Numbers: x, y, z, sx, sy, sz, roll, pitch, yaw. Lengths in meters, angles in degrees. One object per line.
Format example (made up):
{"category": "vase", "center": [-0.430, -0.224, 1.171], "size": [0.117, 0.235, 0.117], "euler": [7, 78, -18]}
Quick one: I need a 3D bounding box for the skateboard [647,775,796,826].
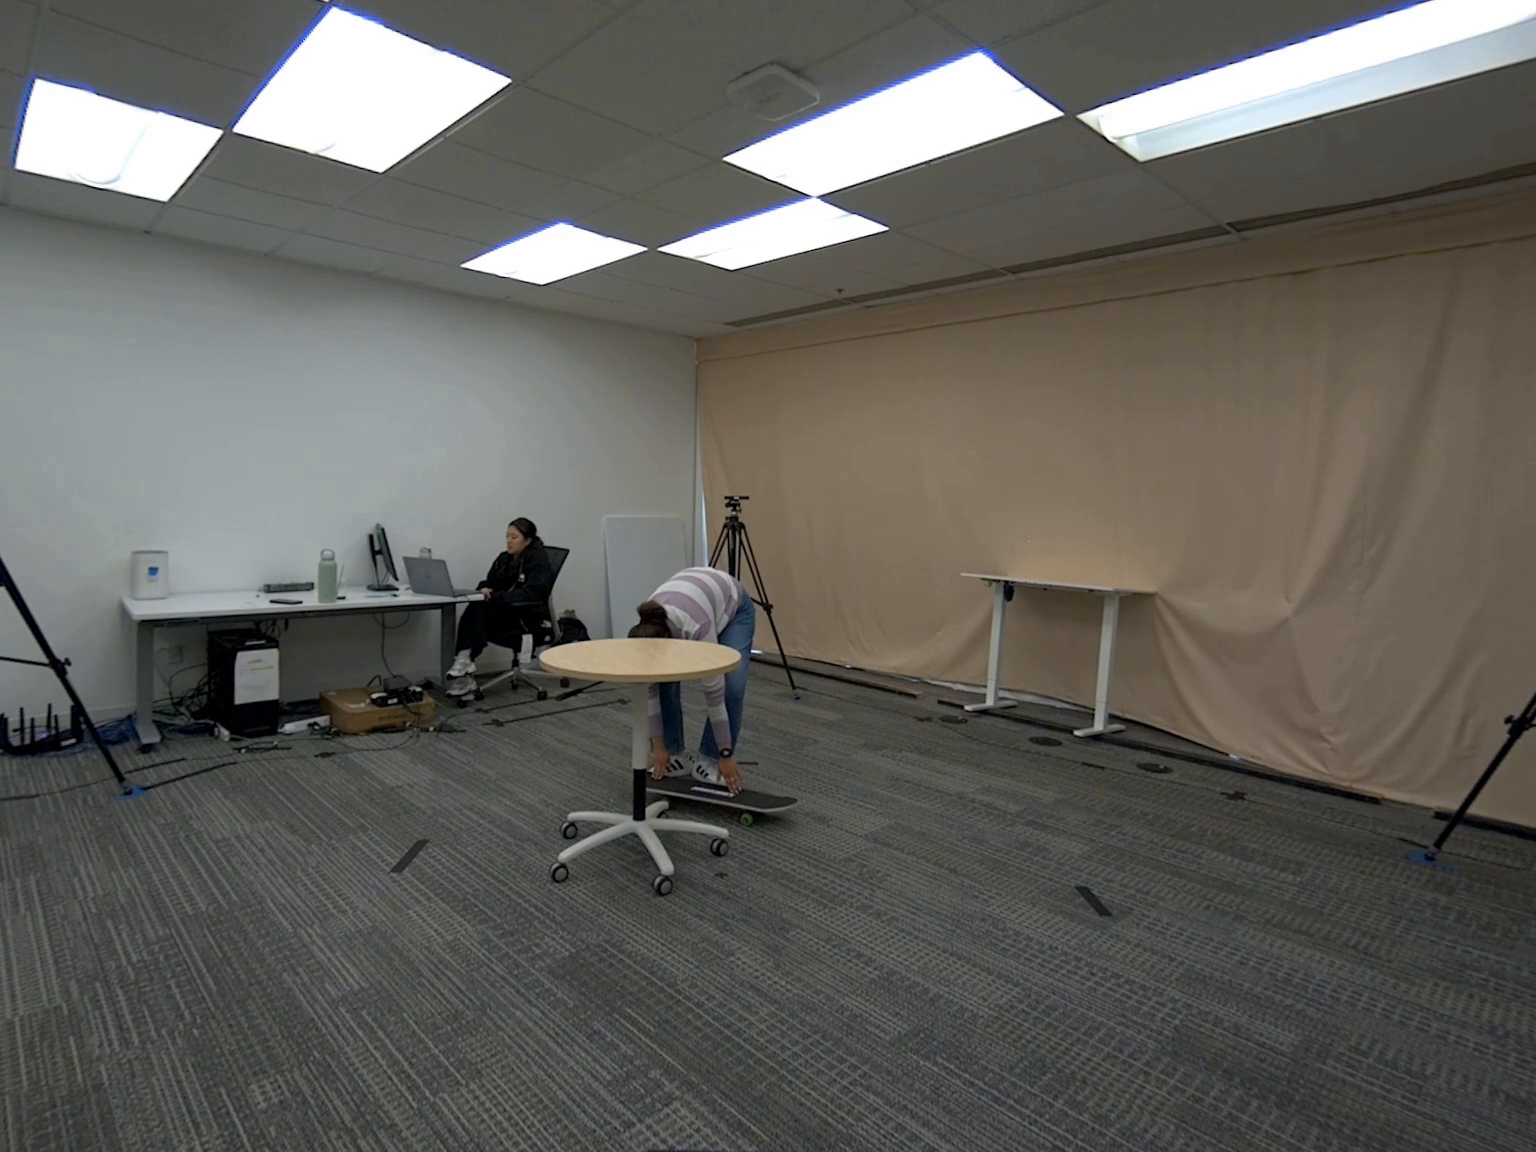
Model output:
{"category": "skateboard", "center": [-0.255, 0.992, 3.732], "size": [0.799, 0.110, 0.191], "euler": [2, 5, 23]}
